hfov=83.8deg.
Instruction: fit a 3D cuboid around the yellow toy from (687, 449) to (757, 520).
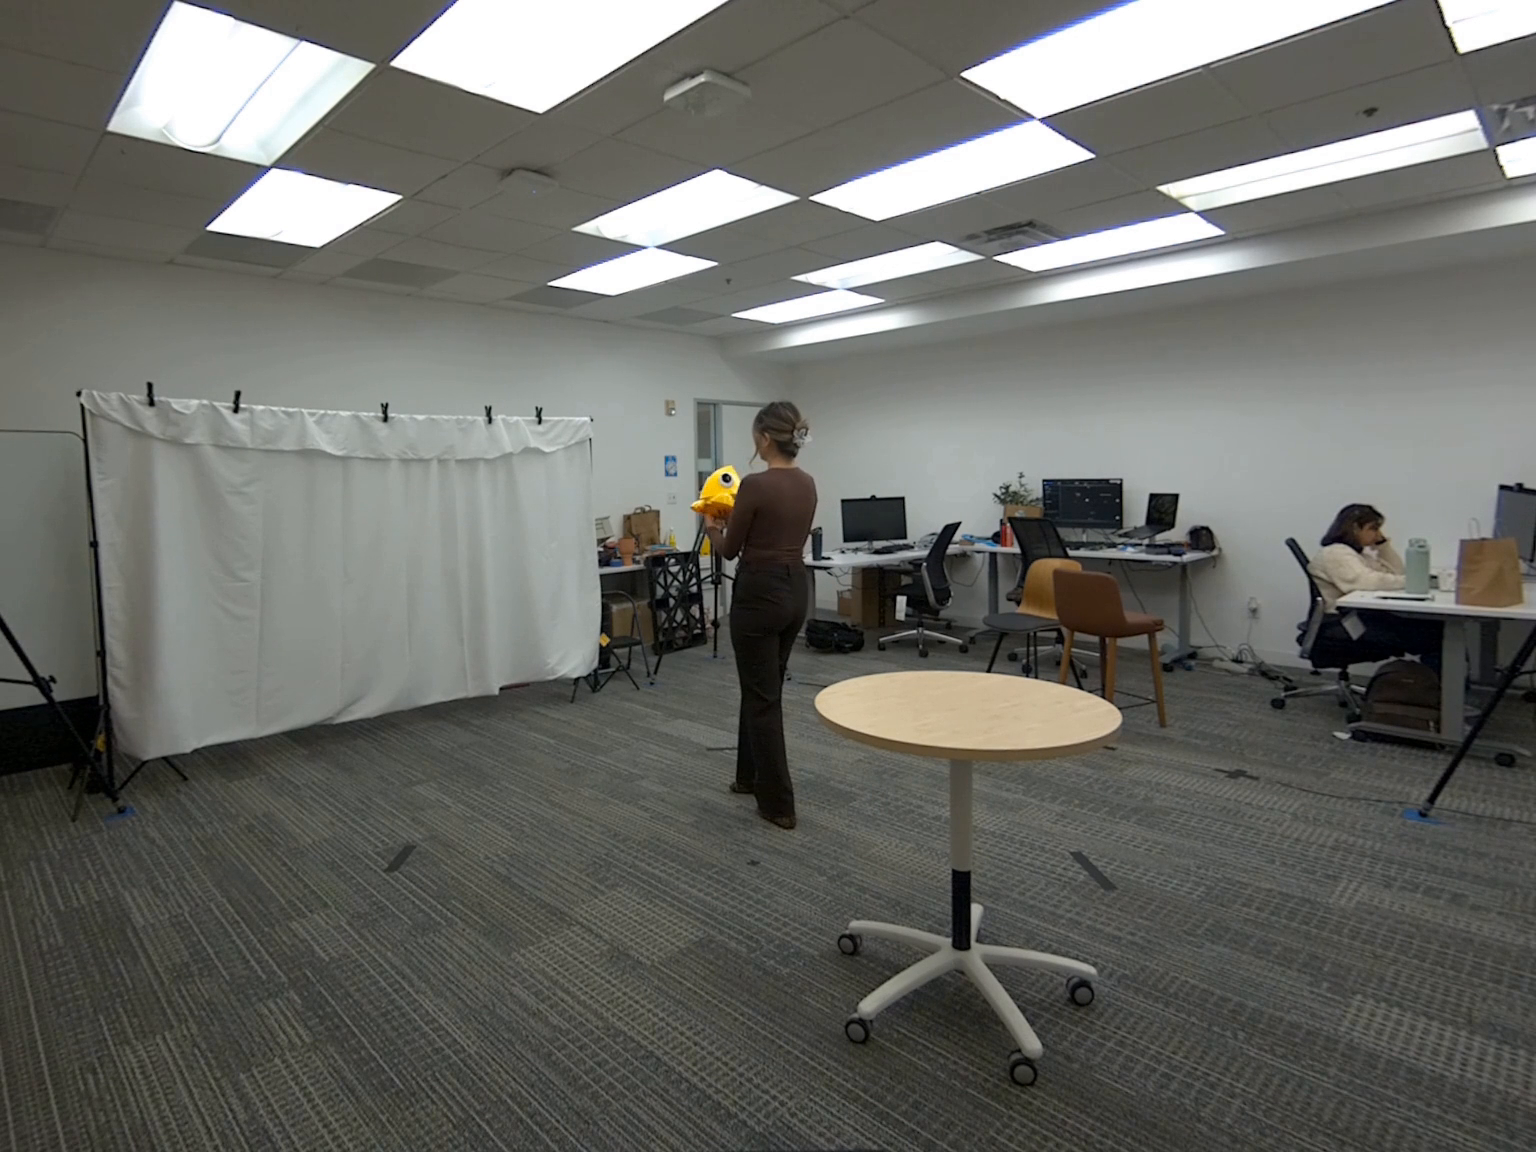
[{"bbox_3d":[-0.205,-0.401,3.771,0.186,0.233,0.209,18,-19,-39],"label":"yellow toy"}]
